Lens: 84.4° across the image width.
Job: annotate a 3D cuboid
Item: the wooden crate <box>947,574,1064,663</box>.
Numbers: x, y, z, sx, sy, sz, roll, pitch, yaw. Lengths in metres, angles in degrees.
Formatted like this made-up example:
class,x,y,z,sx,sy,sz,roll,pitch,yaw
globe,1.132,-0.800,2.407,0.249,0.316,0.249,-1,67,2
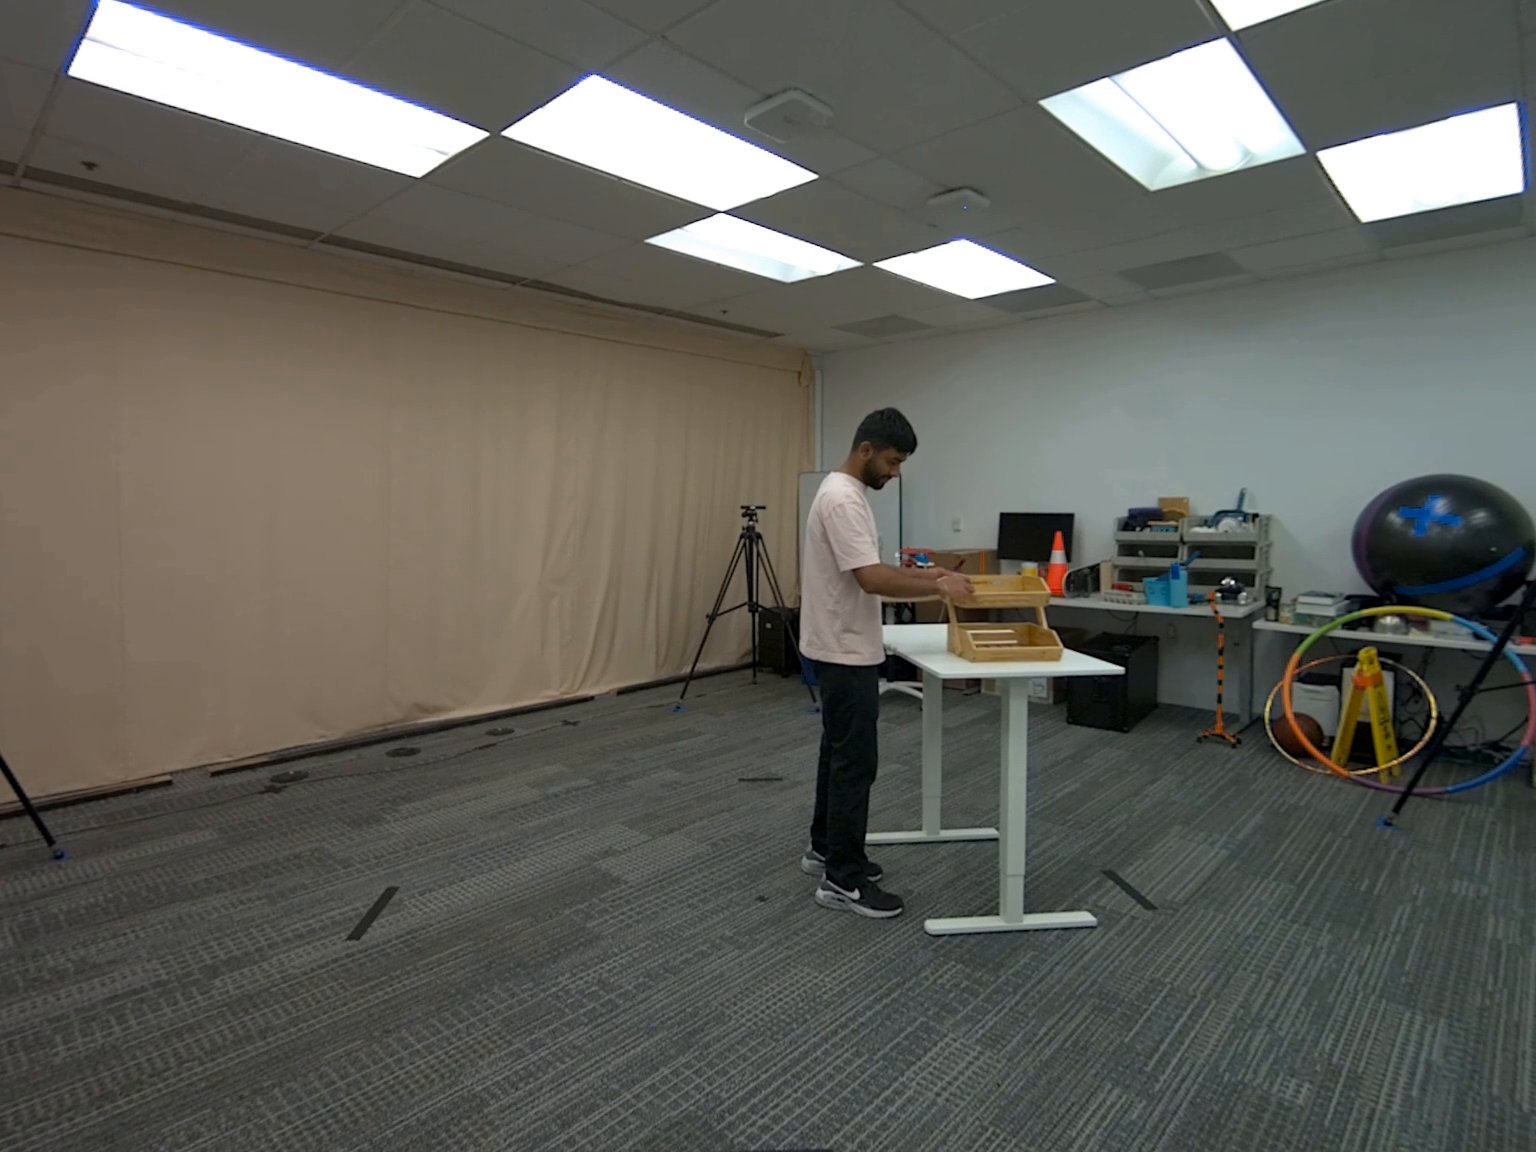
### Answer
class,x,y,z,sx,sy,sz,roll,pitch,yaw
wooden crate,0.808,0.139,2.859,0.322,0.273,0.305,-1,2,-8
